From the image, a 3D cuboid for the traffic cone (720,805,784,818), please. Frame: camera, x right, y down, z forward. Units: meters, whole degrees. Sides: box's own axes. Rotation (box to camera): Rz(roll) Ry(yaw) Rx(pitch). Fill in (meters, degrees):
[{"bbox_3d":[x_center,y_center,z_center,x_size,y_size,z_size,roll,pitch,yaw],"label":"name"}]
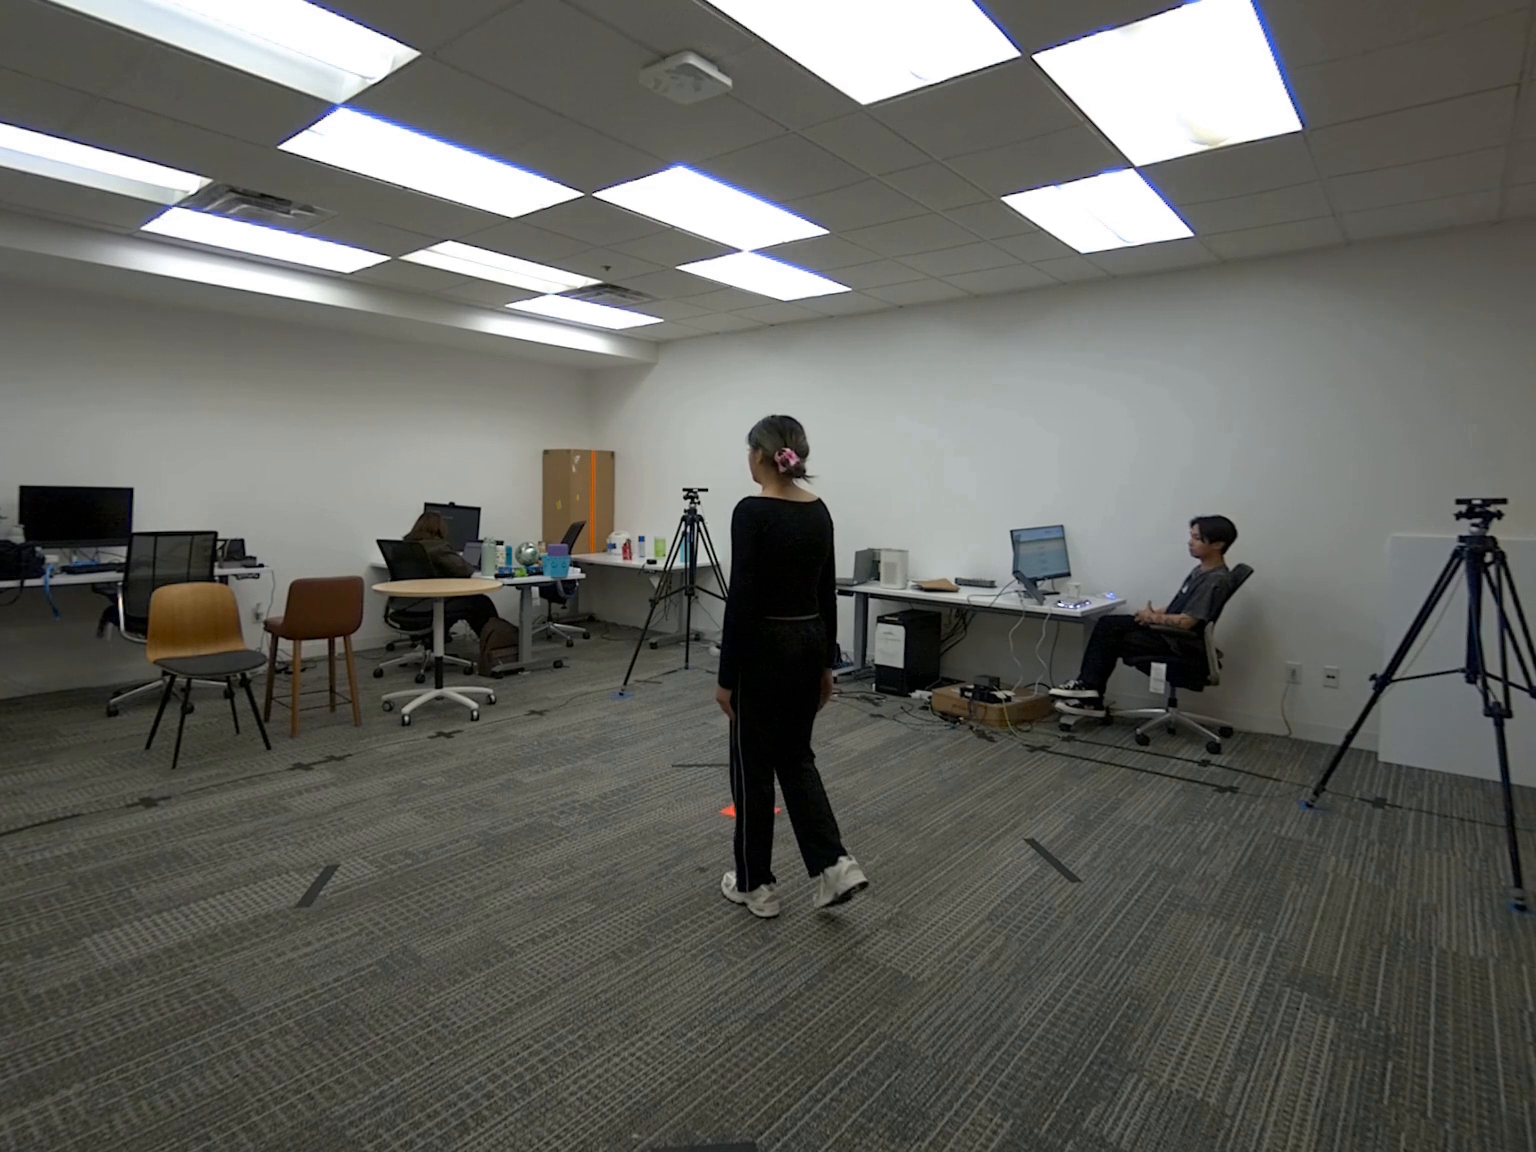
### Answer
[{"bbox_3d":[-0.079,0.827,3.672,0.211,0.382,0.197,4,5,35],"label":"traffic cone"}]
